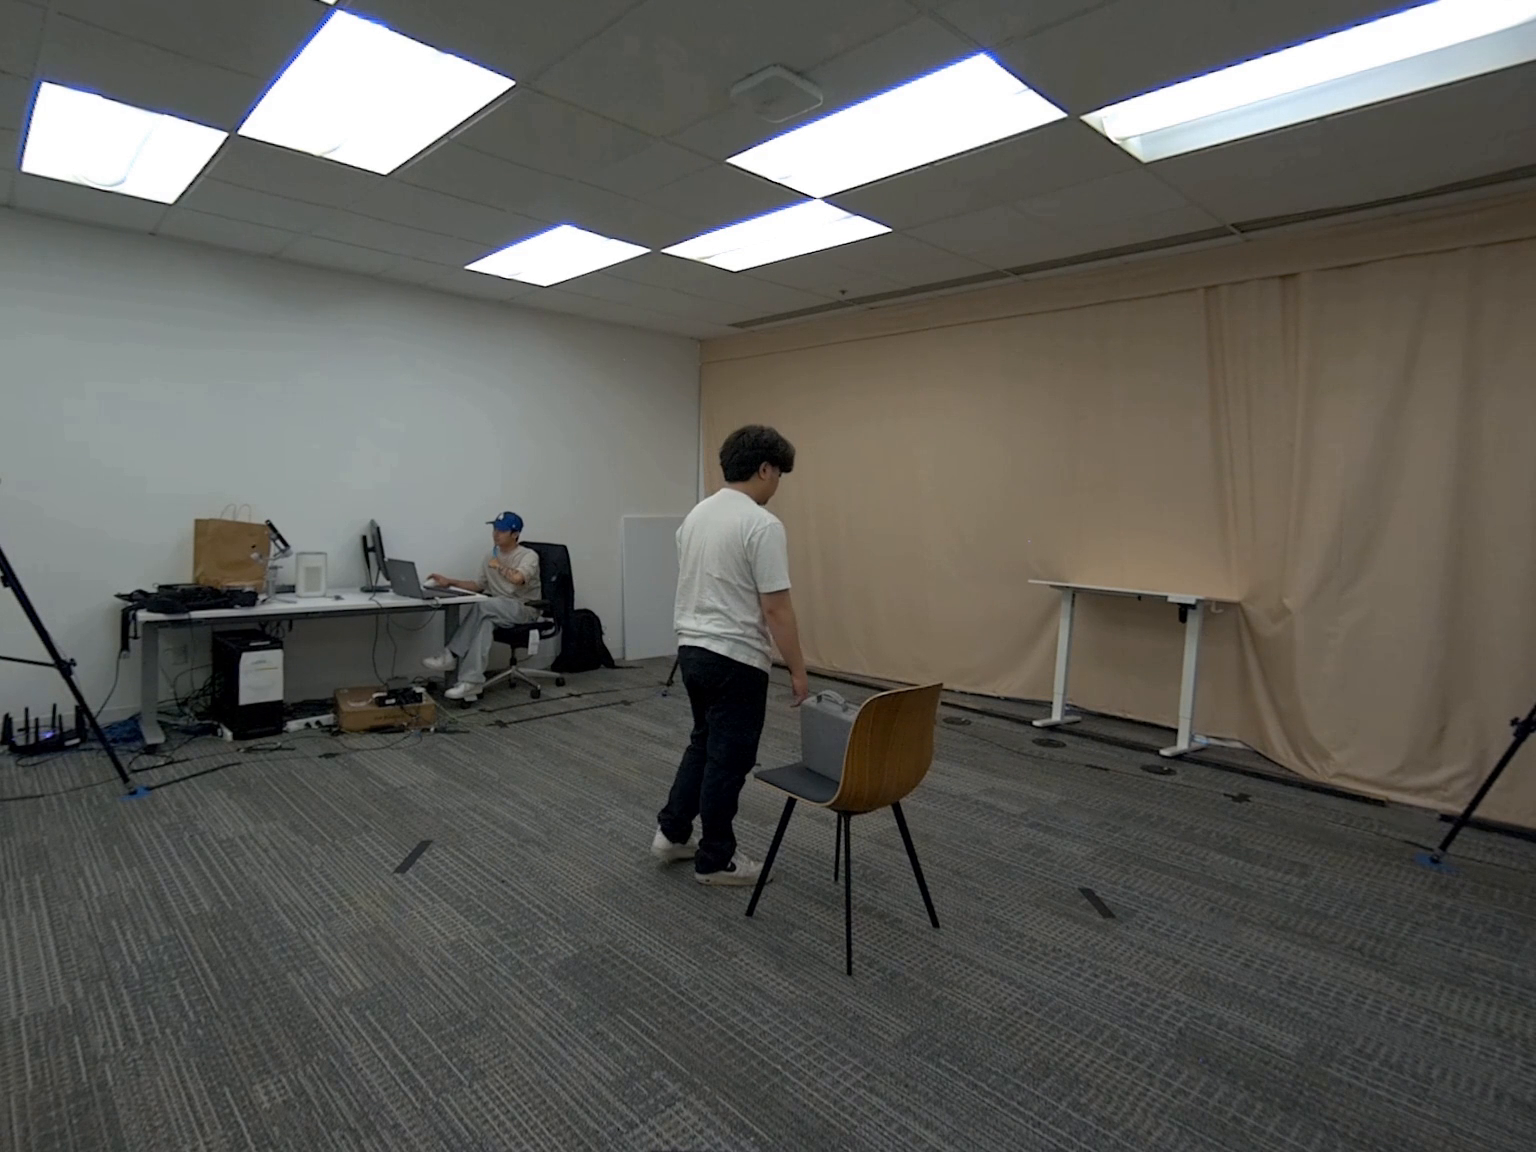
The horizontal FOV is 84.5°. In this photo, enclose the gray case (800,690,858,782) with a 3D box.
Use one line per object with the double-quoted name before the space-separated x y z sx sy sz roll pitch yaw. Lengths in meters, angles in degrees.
"gray case" 0.222 0.540 2.783 0.102 0.258 0.264 -12 15 -39
